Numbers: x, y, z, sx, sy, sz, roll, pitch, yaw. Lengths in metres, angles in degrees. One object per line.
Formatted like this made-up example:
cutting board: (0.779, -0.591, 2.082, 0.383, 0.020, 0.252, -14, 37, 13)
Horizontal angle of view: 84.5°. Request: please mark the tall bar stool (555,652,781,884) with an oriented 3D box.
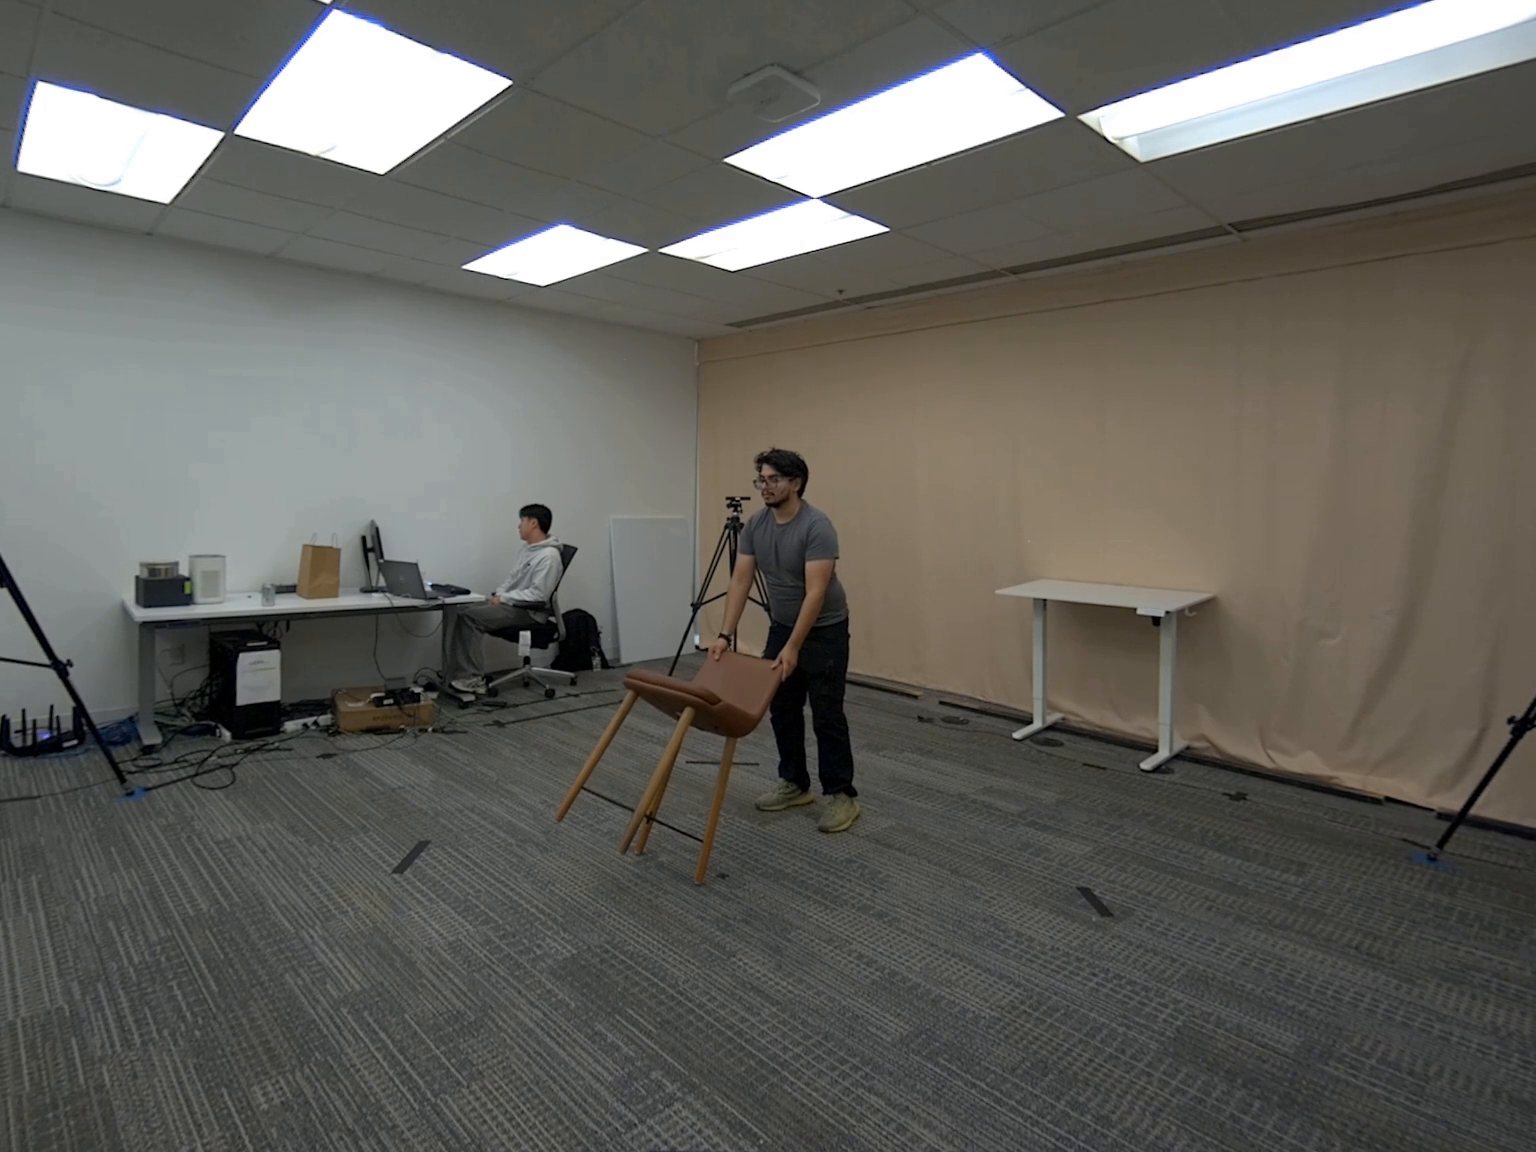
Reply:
tall bar stool: (-0.342, 0.614, 3.161, 0.468, 0.895, 0.453, 4, -27, 44)
